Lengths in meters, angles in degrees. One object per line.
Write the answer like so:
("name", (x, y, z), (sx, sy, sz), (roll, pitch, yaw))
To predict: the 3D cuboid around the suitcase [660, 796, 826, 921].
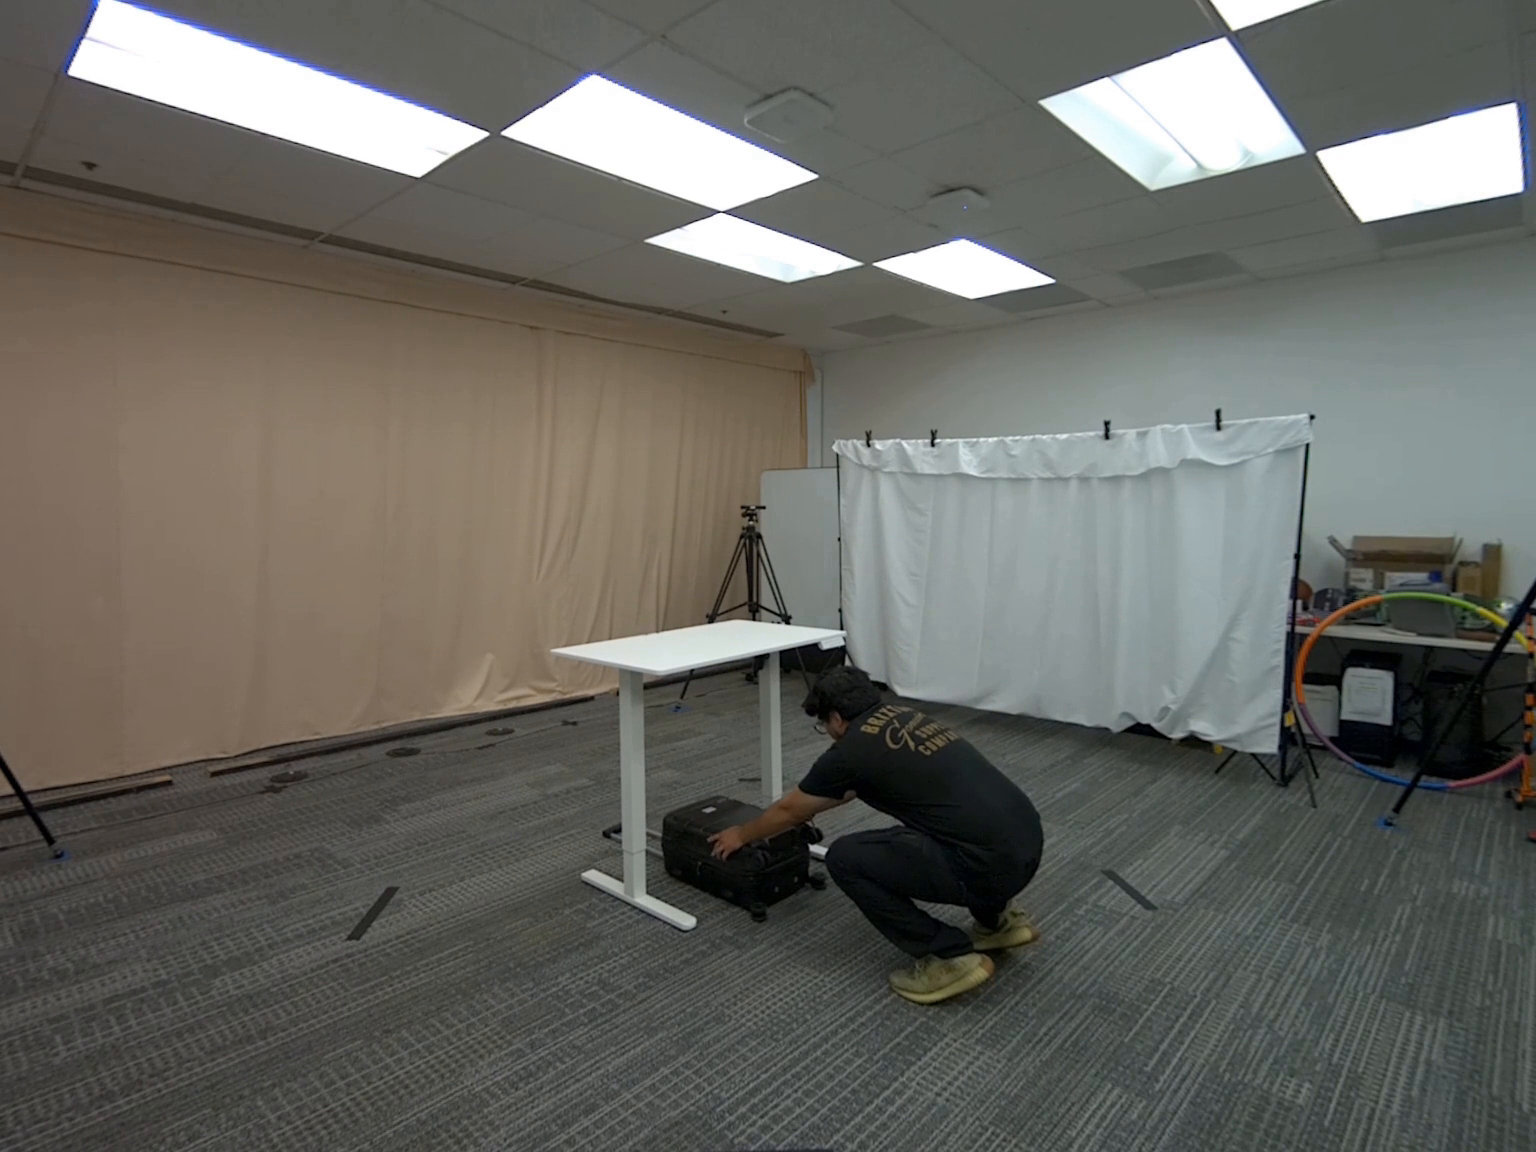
("suitcase", (-0.271, 1.000, 3.263), (1.011, 0.256, 0.372), (5, 7, 41))
